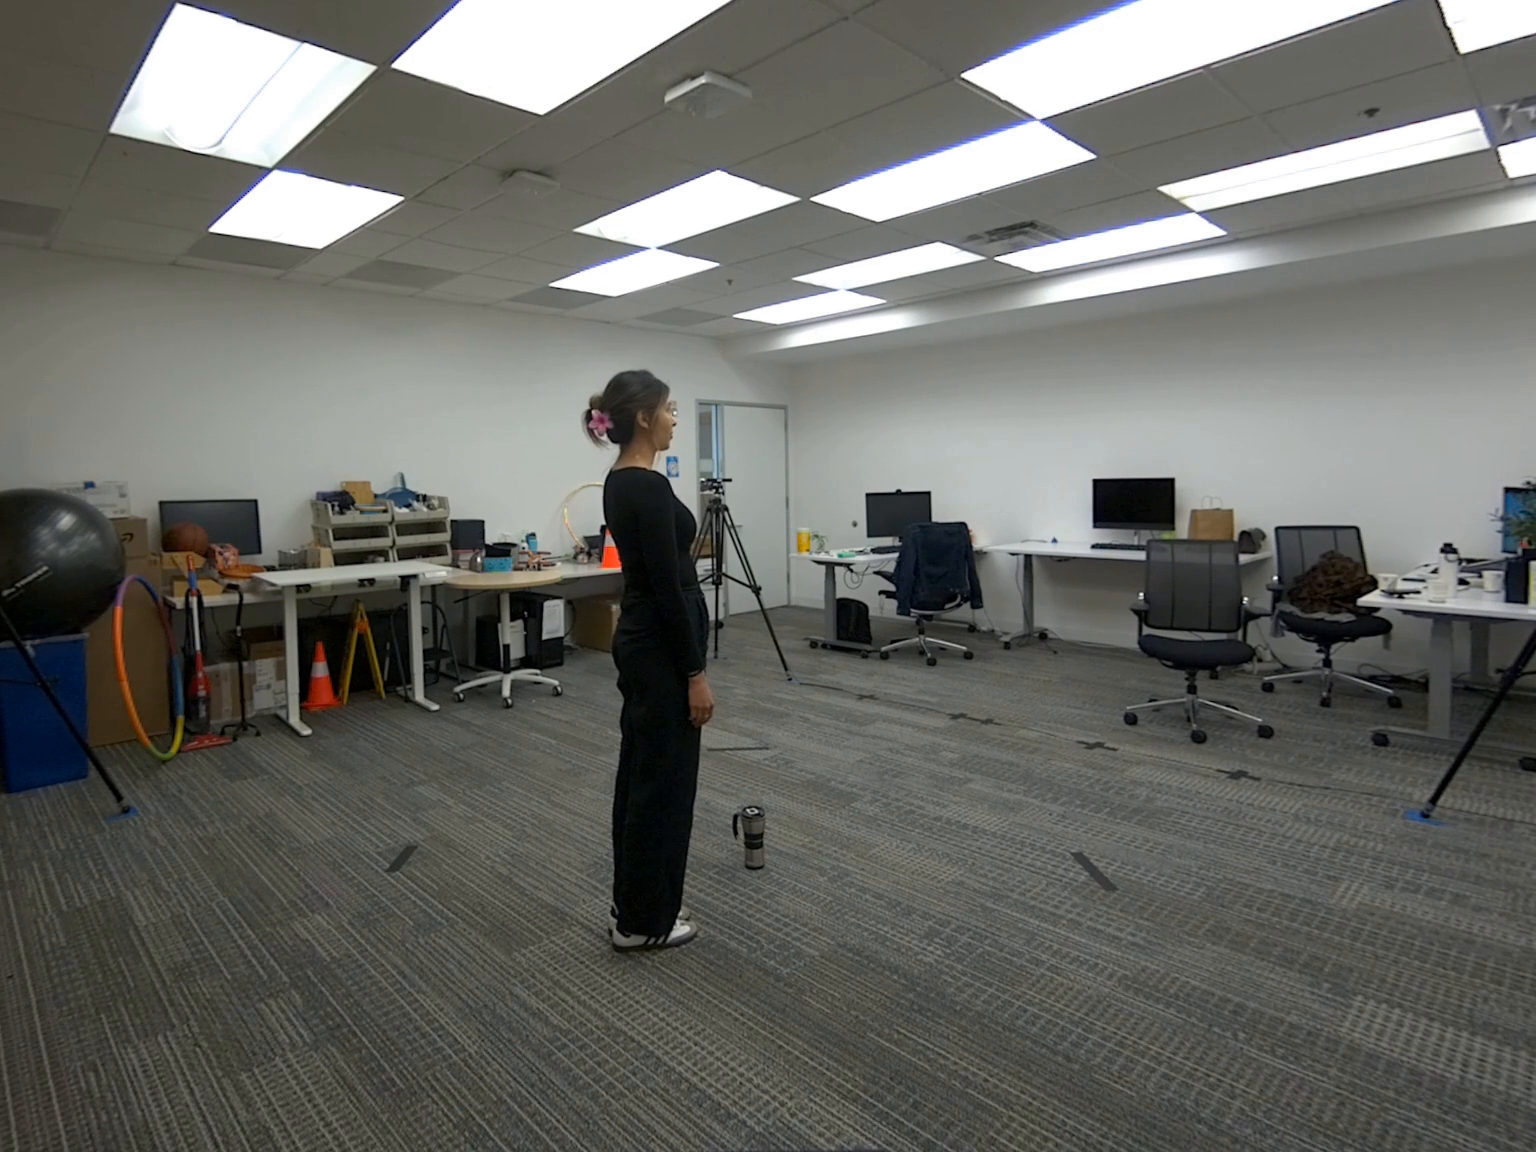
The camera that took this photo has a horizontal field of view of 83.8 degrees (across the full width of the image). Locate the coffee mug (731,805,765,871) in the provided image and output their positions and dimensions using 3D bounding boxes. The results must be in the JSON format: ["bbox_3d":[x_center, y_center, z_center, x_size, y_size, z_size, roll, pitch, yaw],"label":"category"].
[{"bbox_3d":[-0.041,0.948,3.091,0.119,0.202,0.090,-10,4,-32],"label":"coffee mug"}]
